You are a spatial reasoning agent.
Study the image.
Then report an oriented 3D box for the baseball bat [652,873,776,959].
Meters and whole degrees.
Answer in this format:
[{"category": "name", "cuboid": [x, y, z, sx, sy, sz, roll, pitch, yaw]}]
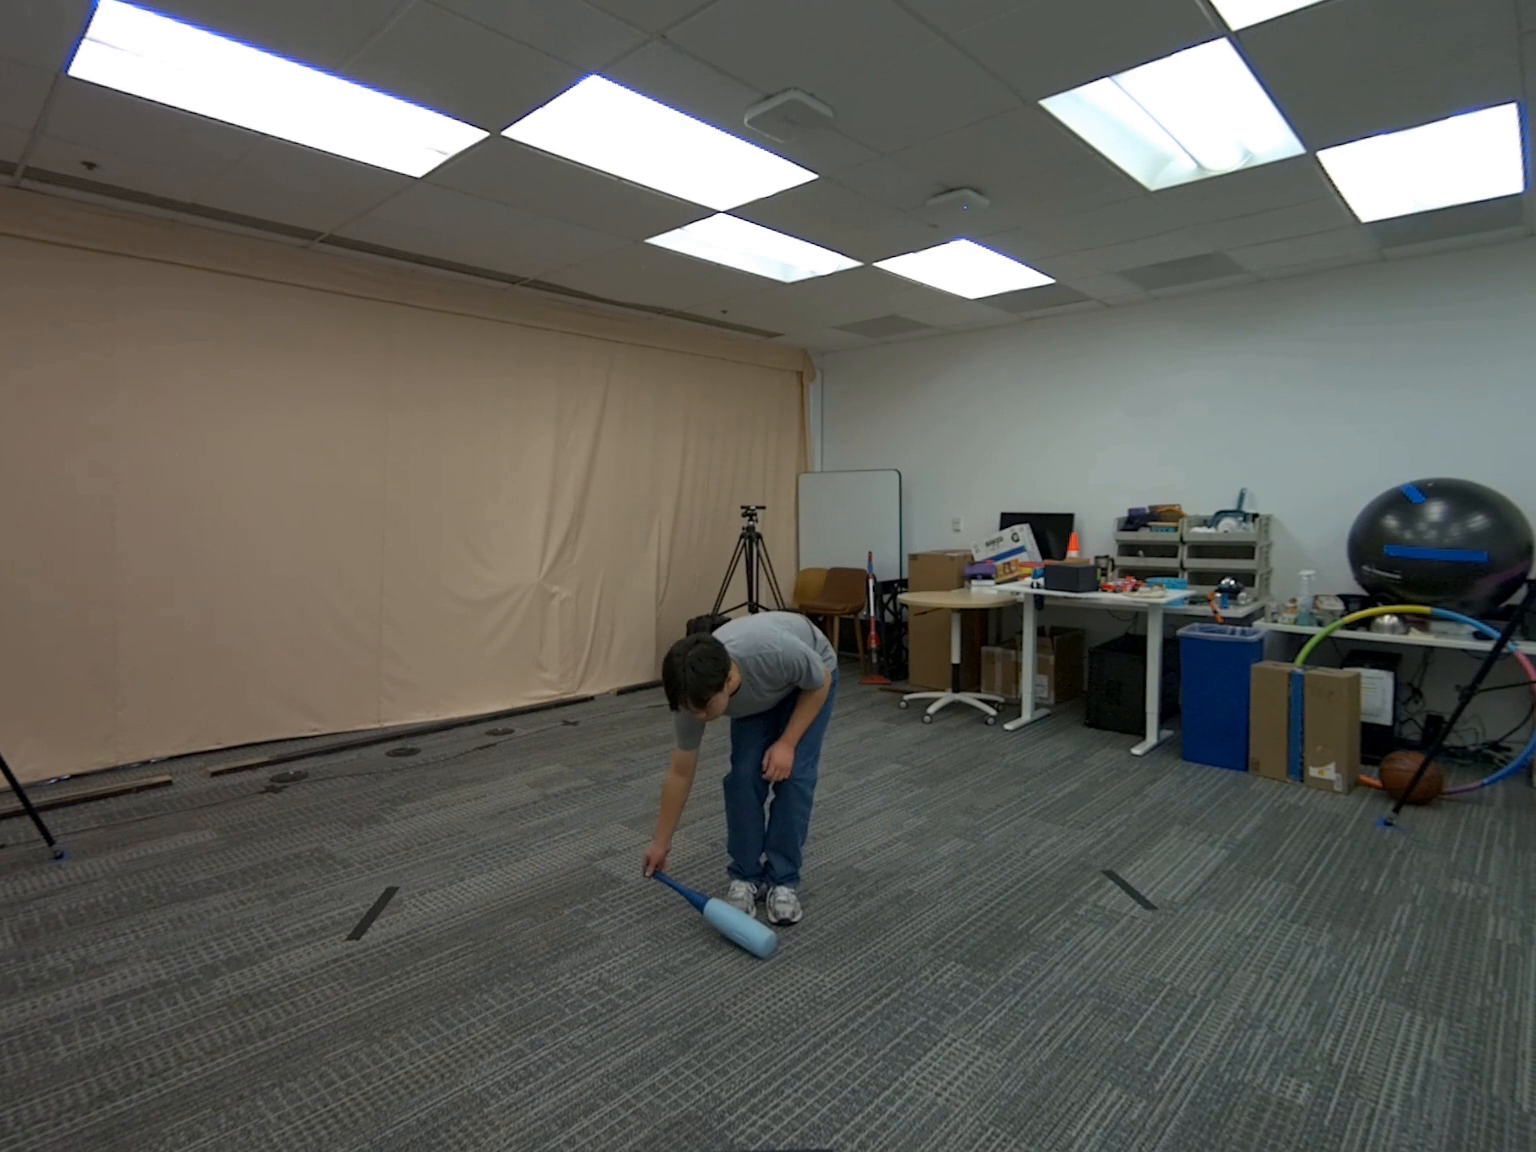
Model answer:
[{"category": "baseball bat", "cuboid": [-0.195, 1.081, 2.749, 0.562, 0.088, 0.086, 14, 12, 38]}]
